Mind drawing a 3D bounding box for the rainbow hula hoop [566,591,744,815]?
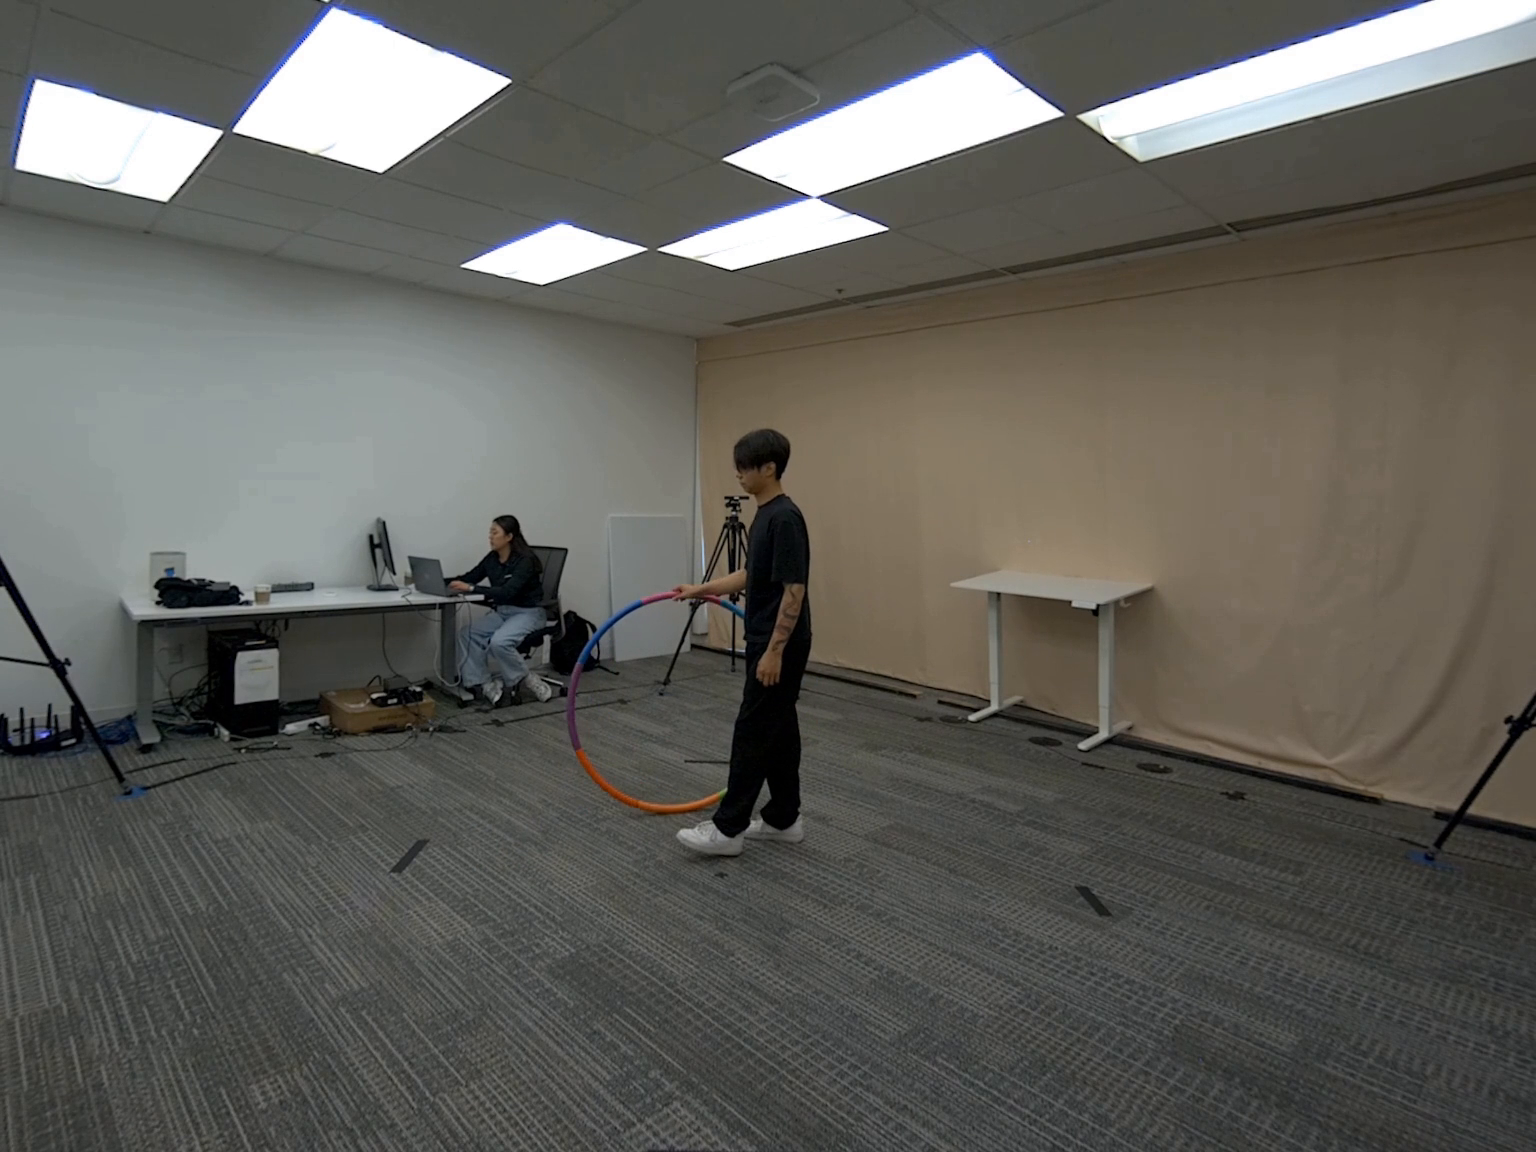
[{"bbox_3d":[-0.399,0.556,3.726,0.965,0.979,0.036,0,-1,-18],"label":"rainbow hula hoop"}]
